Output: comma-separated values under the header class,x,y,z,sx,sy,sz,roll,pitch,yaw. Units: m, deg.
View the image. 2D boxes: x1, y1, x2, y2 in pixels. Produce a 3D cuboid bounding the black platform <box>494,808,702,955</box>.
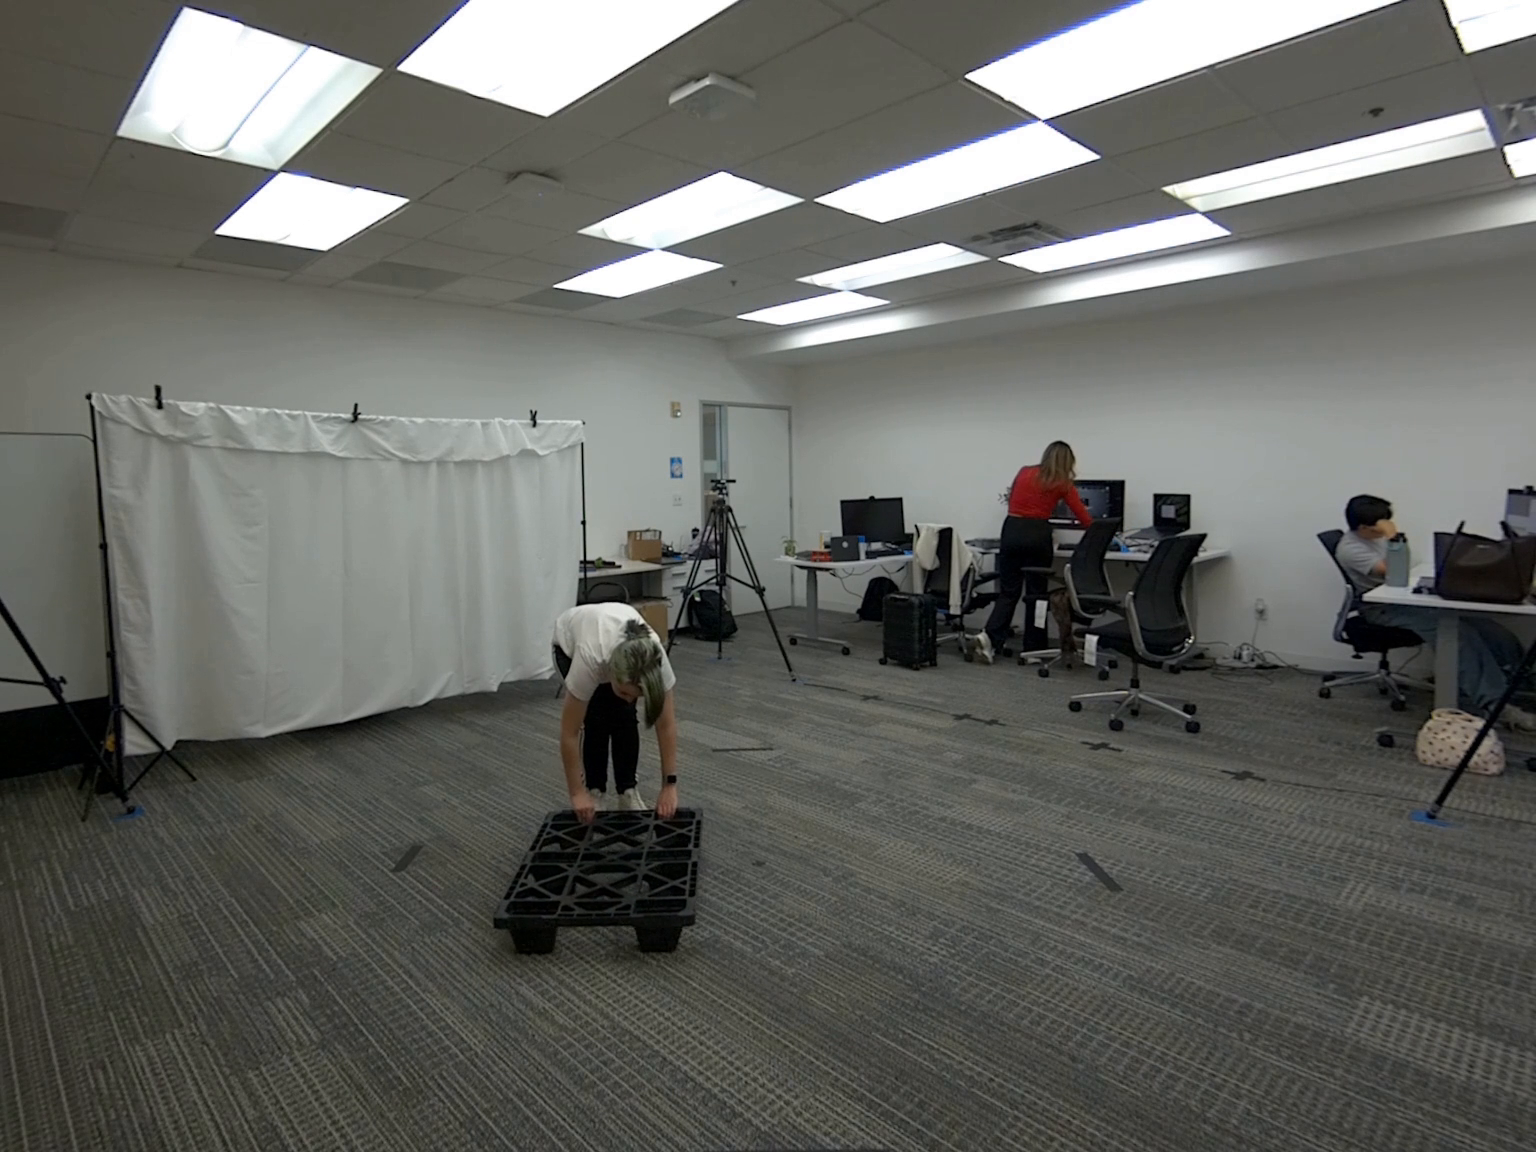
class,x,y,z,sx,sy,sz,roll,pitch,yaw
black platform,-0.527,1.012,2.896,0.605,0.142,0.810,-2,7,-1
